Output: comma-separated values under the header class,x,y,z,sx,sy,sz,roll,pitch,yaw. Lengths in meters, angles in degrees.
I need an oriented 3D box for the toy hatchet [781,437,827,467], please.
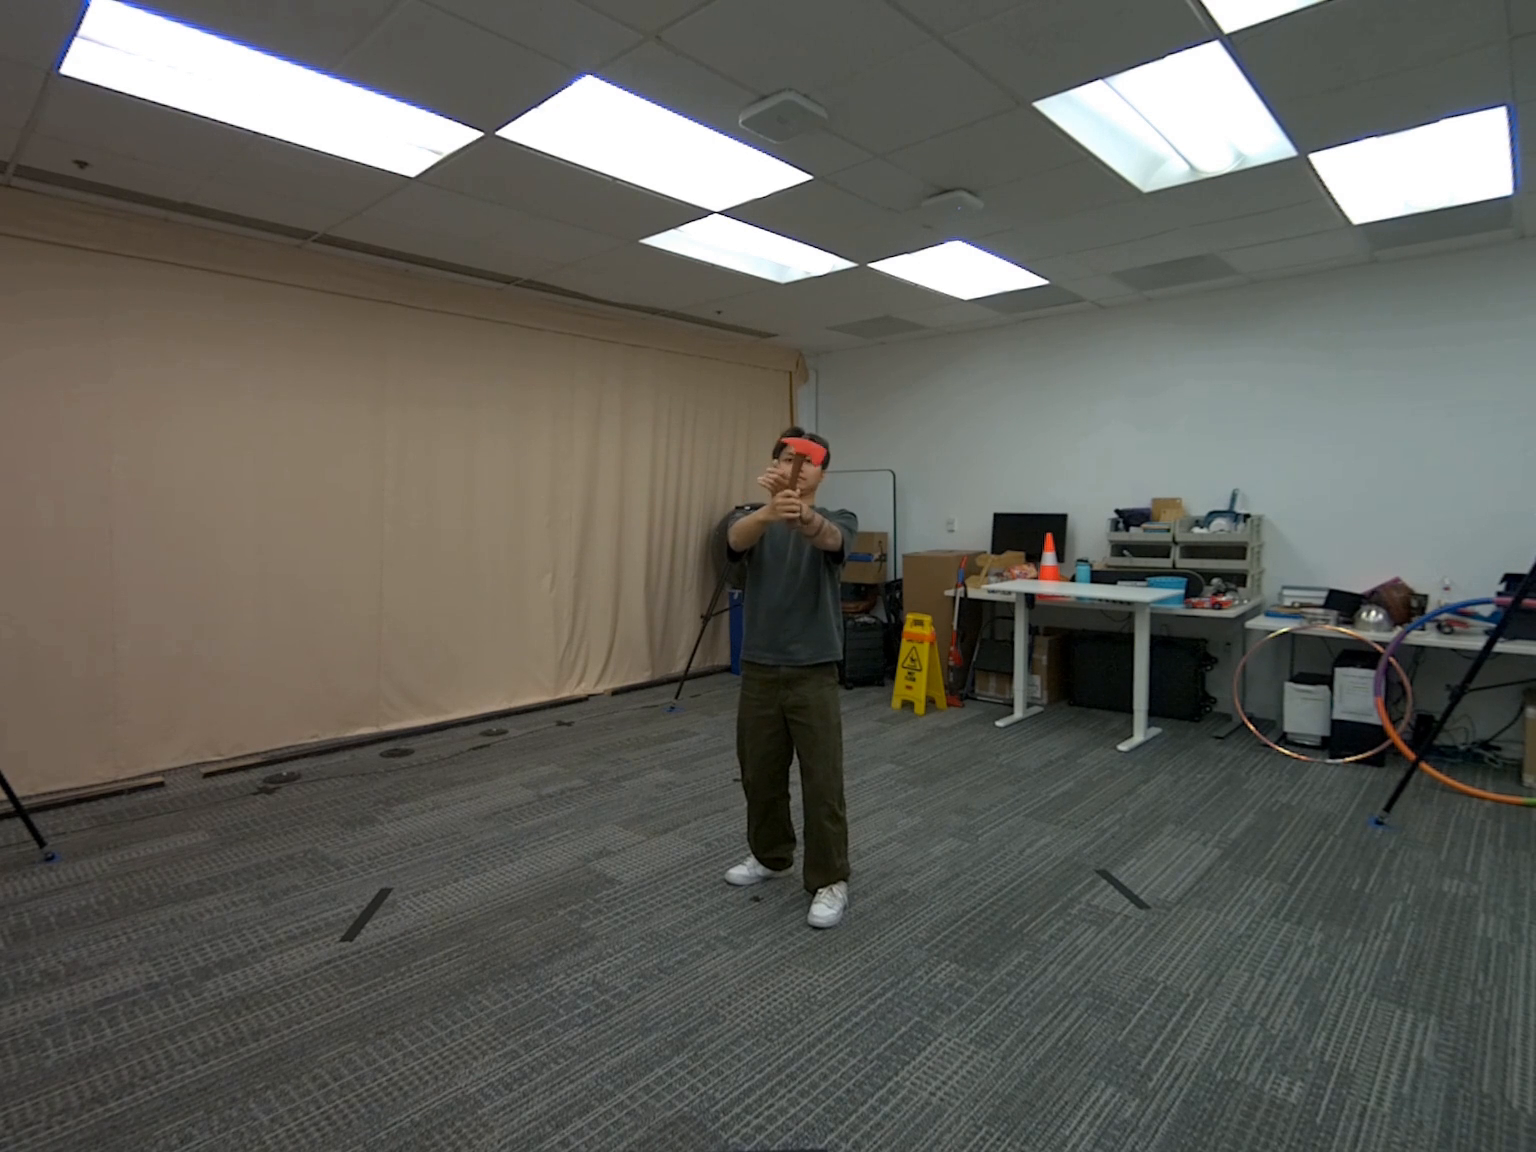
class,x,y,z,sx,sy,sz,roll,pitch,yaw
toy hatchet,0.107,-0.274,2.475,0.131,0.268,0.030,-6,9,-3
